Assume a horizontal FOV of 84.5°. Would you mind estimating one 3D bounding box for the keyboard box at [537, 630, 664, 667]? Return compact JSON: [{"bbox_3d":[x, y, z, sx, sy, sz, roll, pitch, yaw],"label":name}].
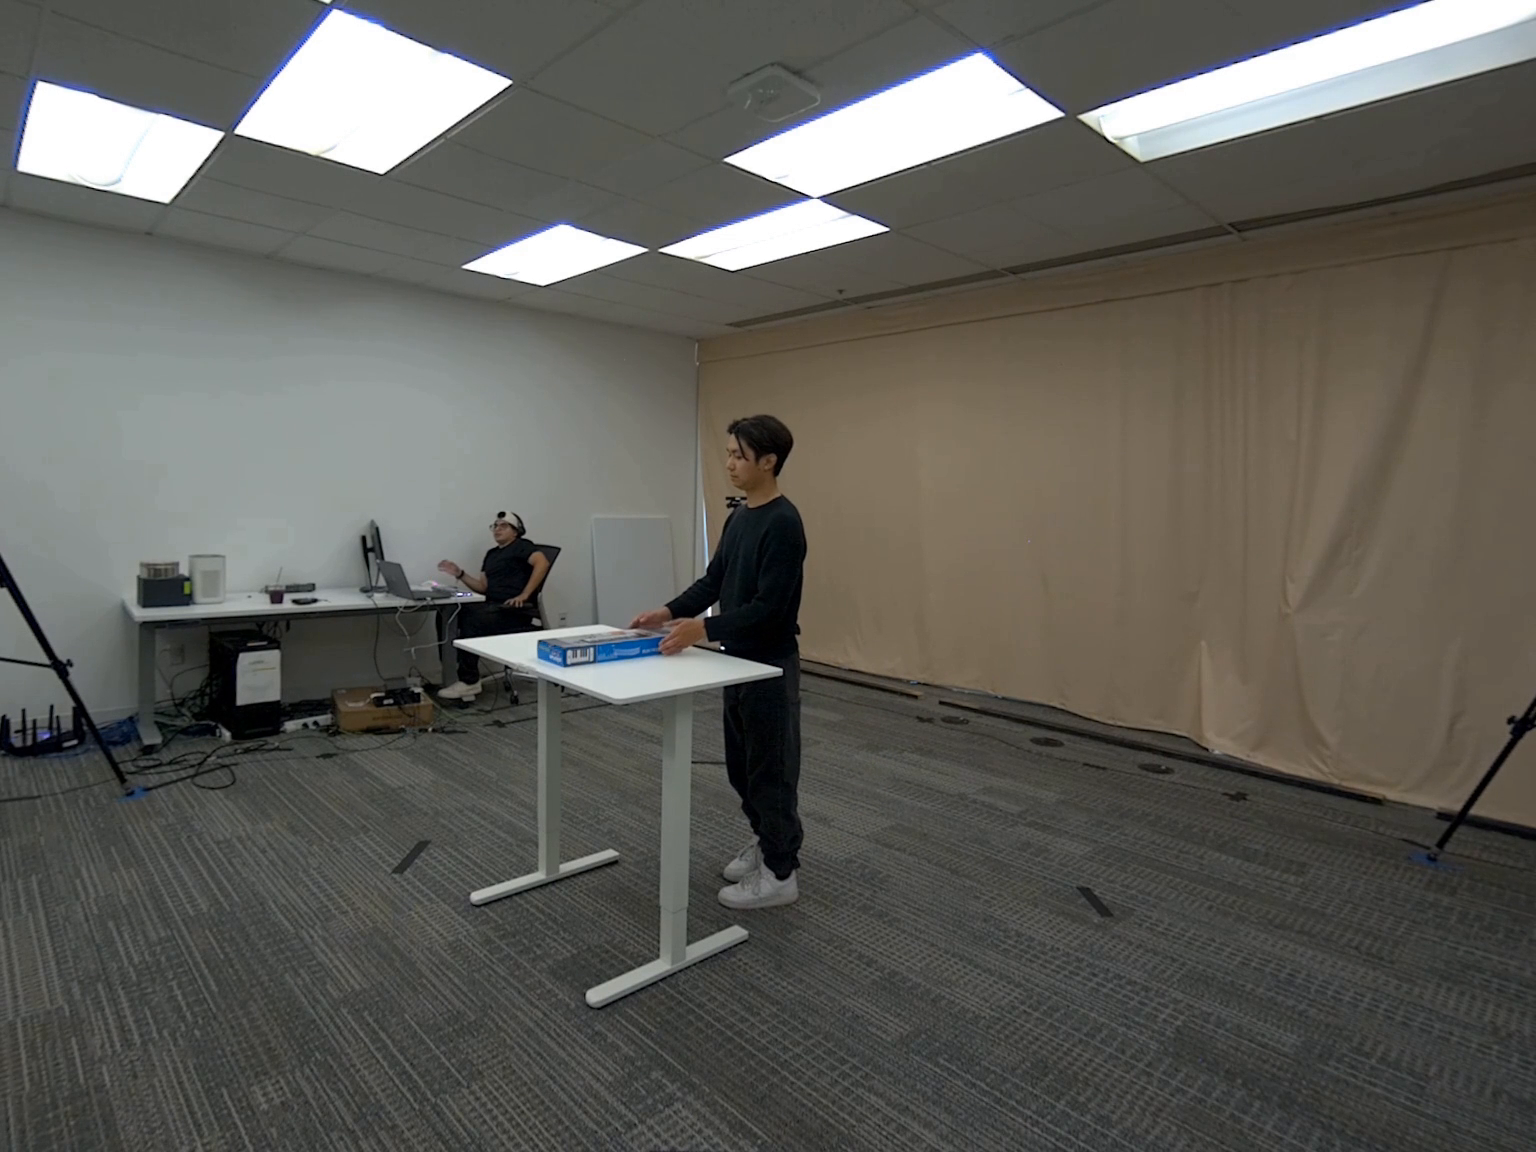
[{"bbox_3d":[-0.505,0.226,2.687,0.427,0.059,0.180,-3,7,-40],"label":"keyboard box"}]
